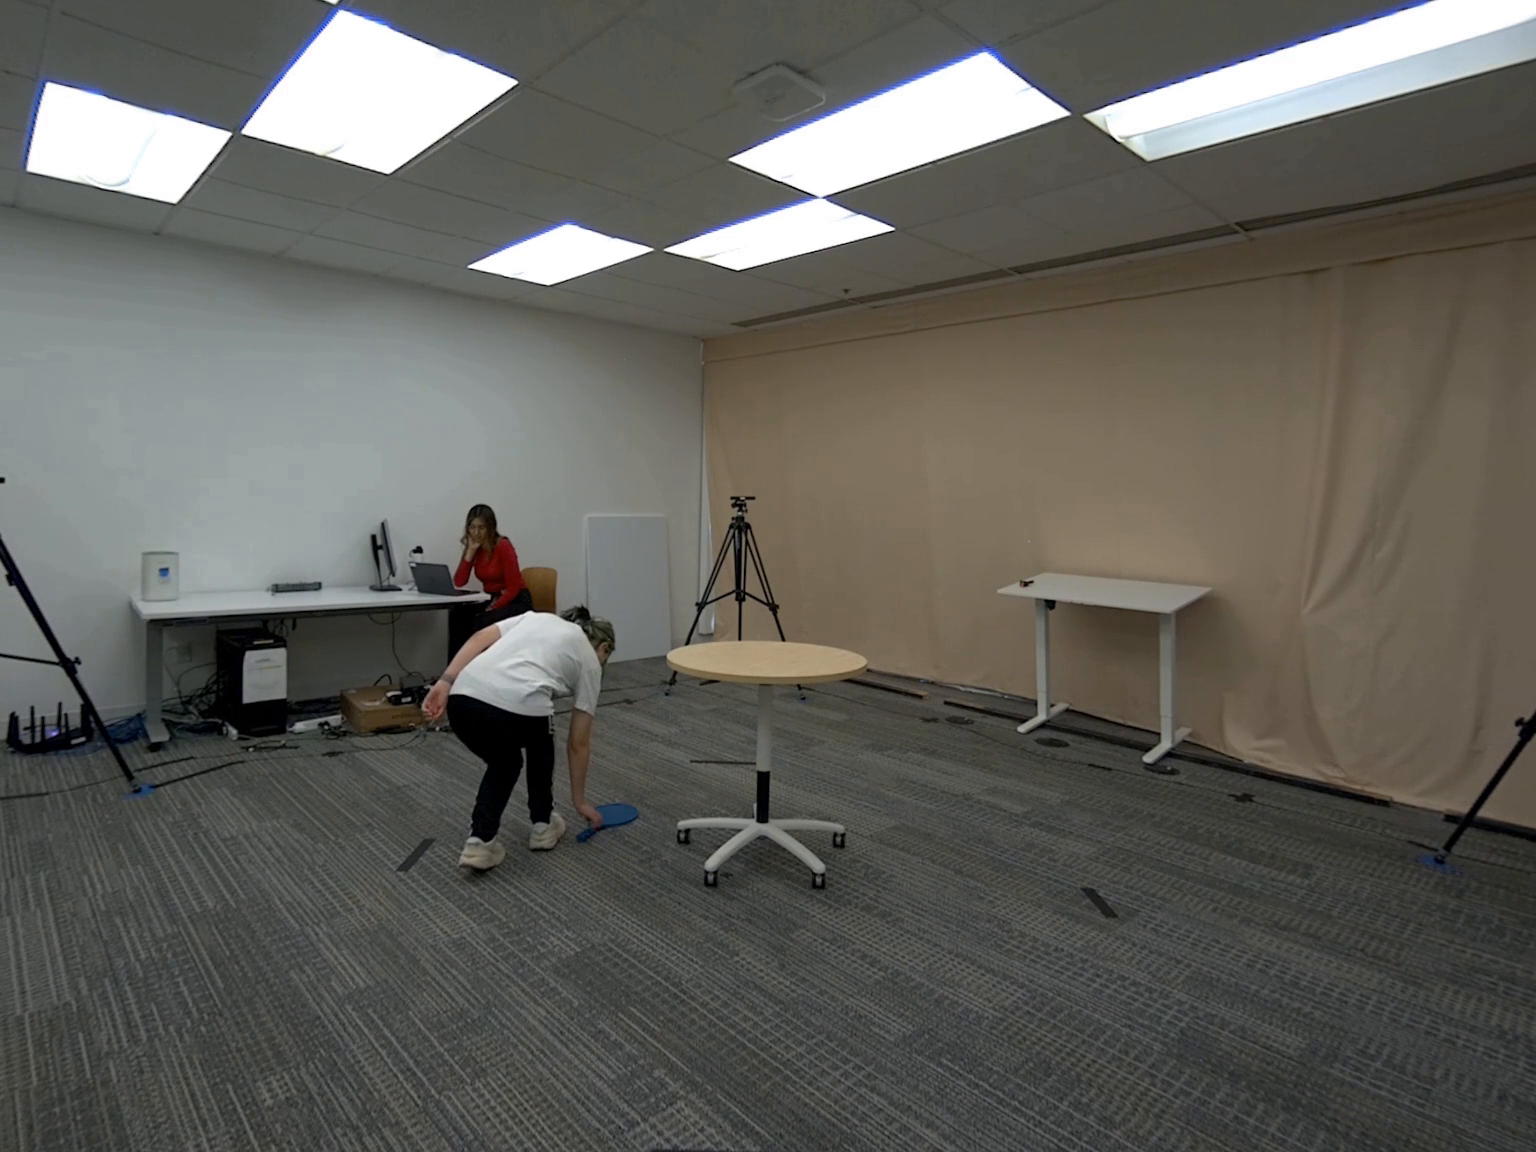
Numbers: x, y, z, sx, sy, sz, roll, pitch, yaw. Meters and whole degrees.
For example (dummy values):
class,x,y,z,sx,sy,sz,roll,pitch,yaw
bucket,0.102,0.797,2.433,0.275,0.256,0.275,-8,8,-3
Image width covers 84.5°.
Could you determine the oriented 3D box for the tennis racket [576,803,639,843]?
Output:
class,x,y,z,sx,sy,sz,roll,pitch,yaw
tennis racket,-0.702,1.035,3.573,0.216,0.032,0.428,4,4,15
